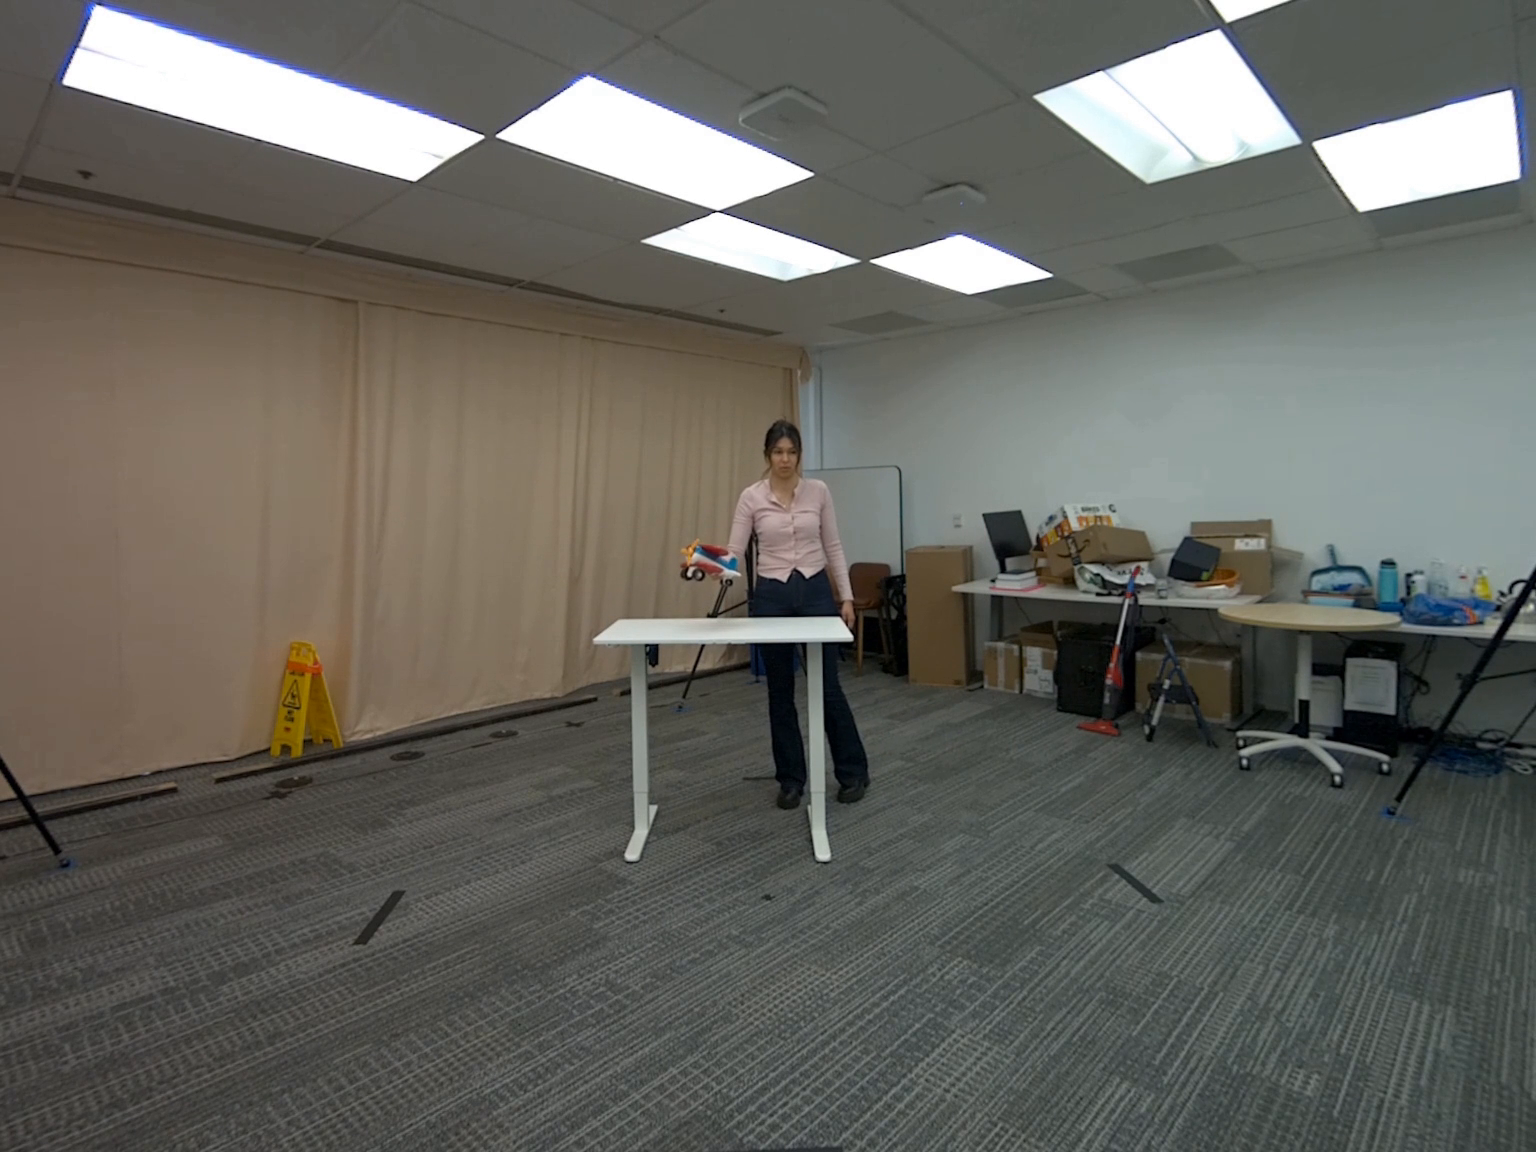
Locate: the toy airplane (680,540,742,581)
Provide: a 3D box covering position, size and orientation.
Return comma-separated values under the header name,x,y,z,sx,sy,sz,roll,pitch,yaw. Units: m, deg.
name,x,y,z,sx,sy,sz,roll,pitch,yaw
toy airplane,-0.251,-0.043,3.552,0.258,0.157,0.251,4,-7,25
